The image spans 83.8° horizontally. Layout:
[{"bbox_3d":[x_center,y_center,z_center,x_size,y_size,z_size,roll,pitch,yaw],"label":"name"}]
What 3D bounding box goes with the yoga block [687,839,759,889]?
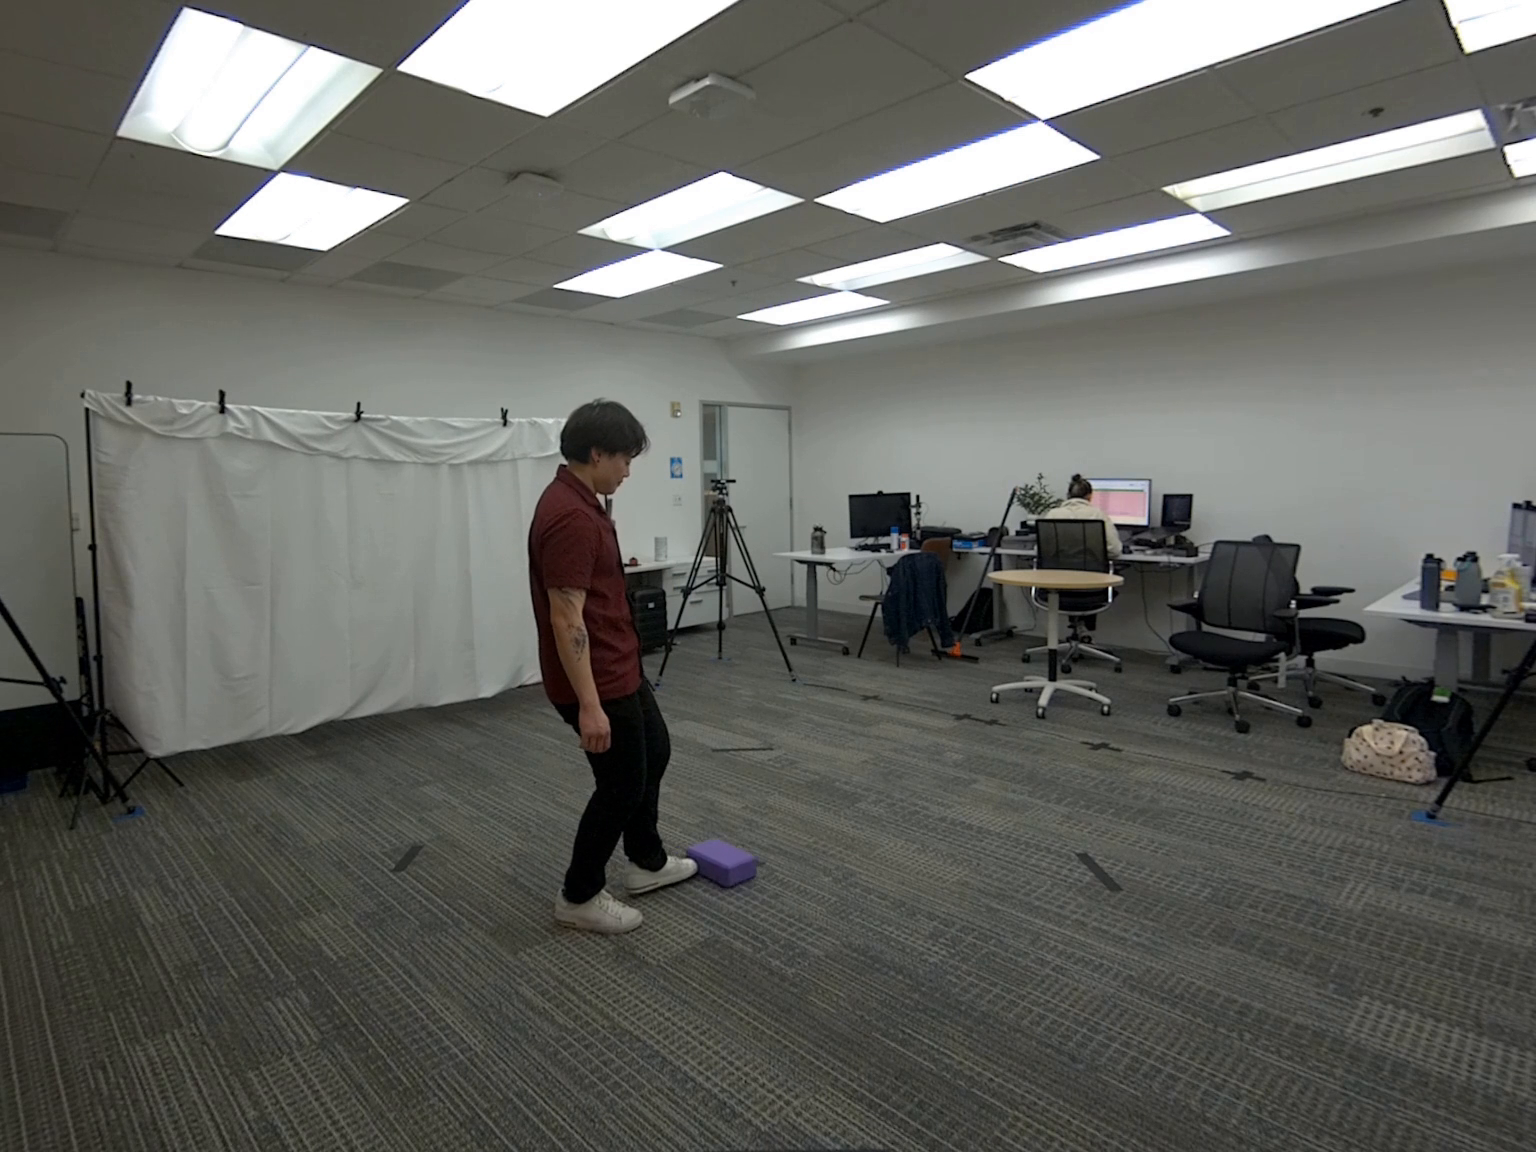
[{"bbox_3d":[-0.150,1.012,3.041,0.145,0.076,0.236,-3,6,-43],"label":"yoga block"}]
